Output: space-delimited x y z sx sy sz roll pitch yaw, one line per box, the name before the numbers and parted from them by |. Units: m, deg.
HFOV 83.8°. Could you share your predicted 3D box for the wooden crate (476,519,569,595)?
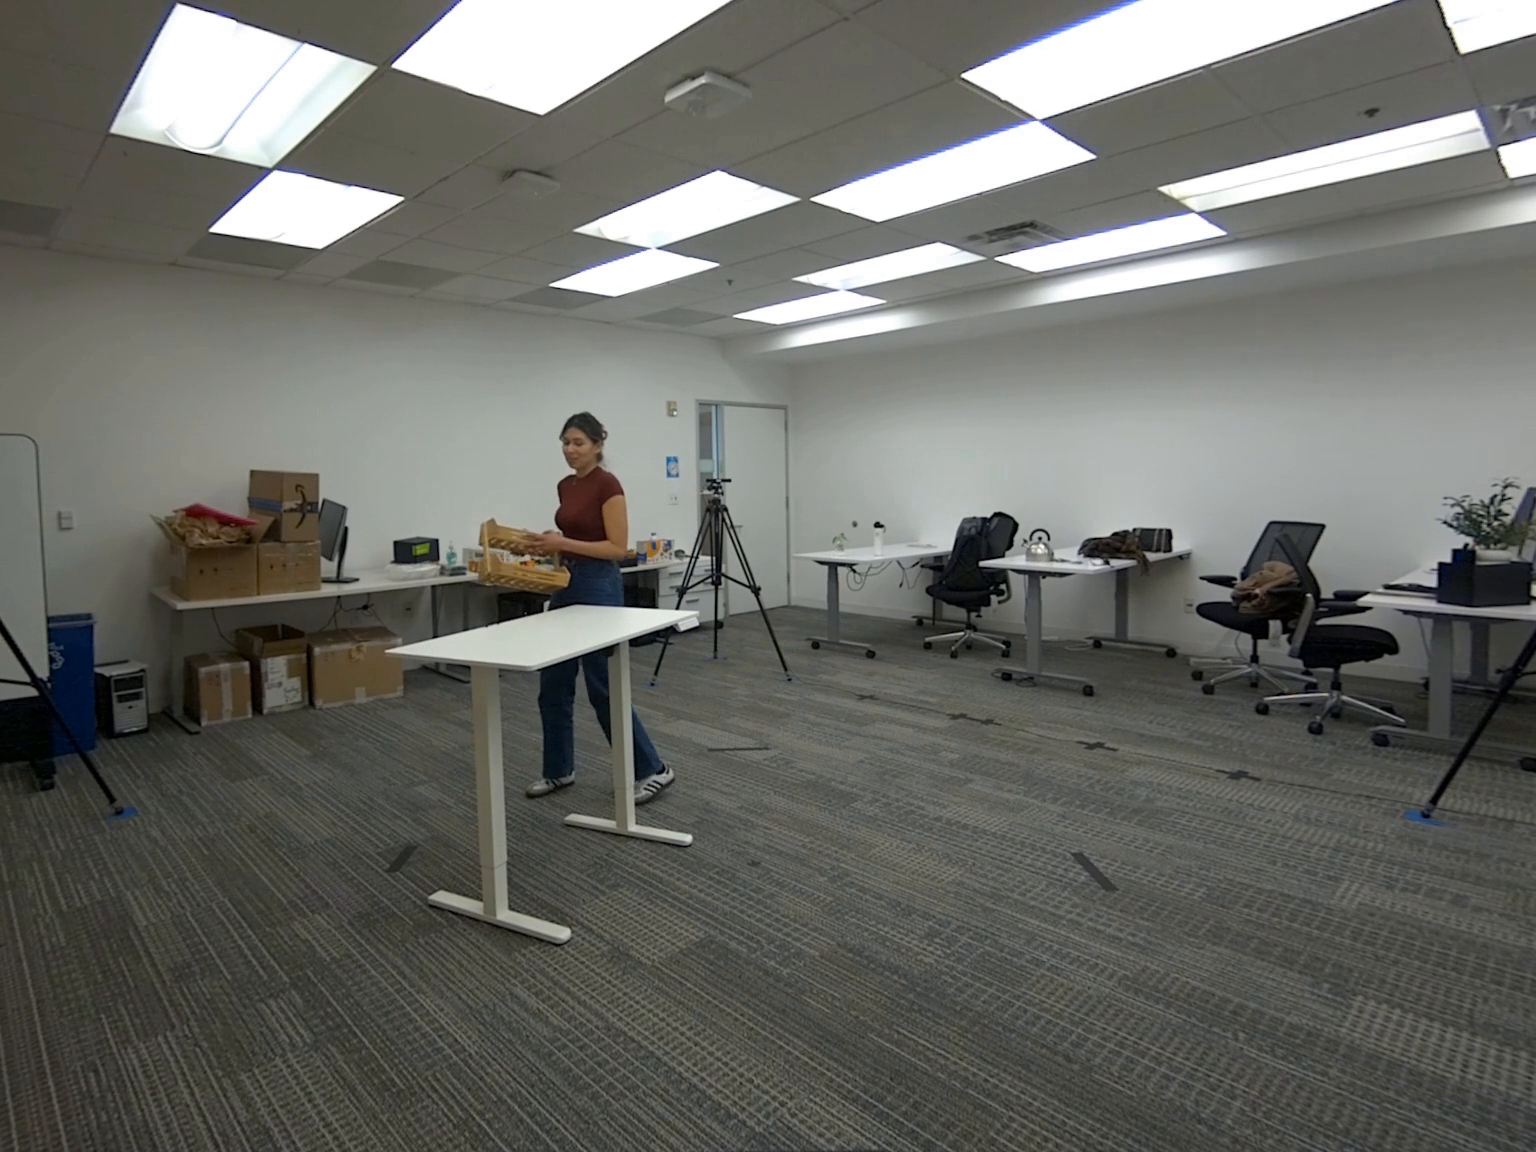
wooden crate | -1.019 -0.095 3.580 0.314 0.277 0.308 13 -18 -36
